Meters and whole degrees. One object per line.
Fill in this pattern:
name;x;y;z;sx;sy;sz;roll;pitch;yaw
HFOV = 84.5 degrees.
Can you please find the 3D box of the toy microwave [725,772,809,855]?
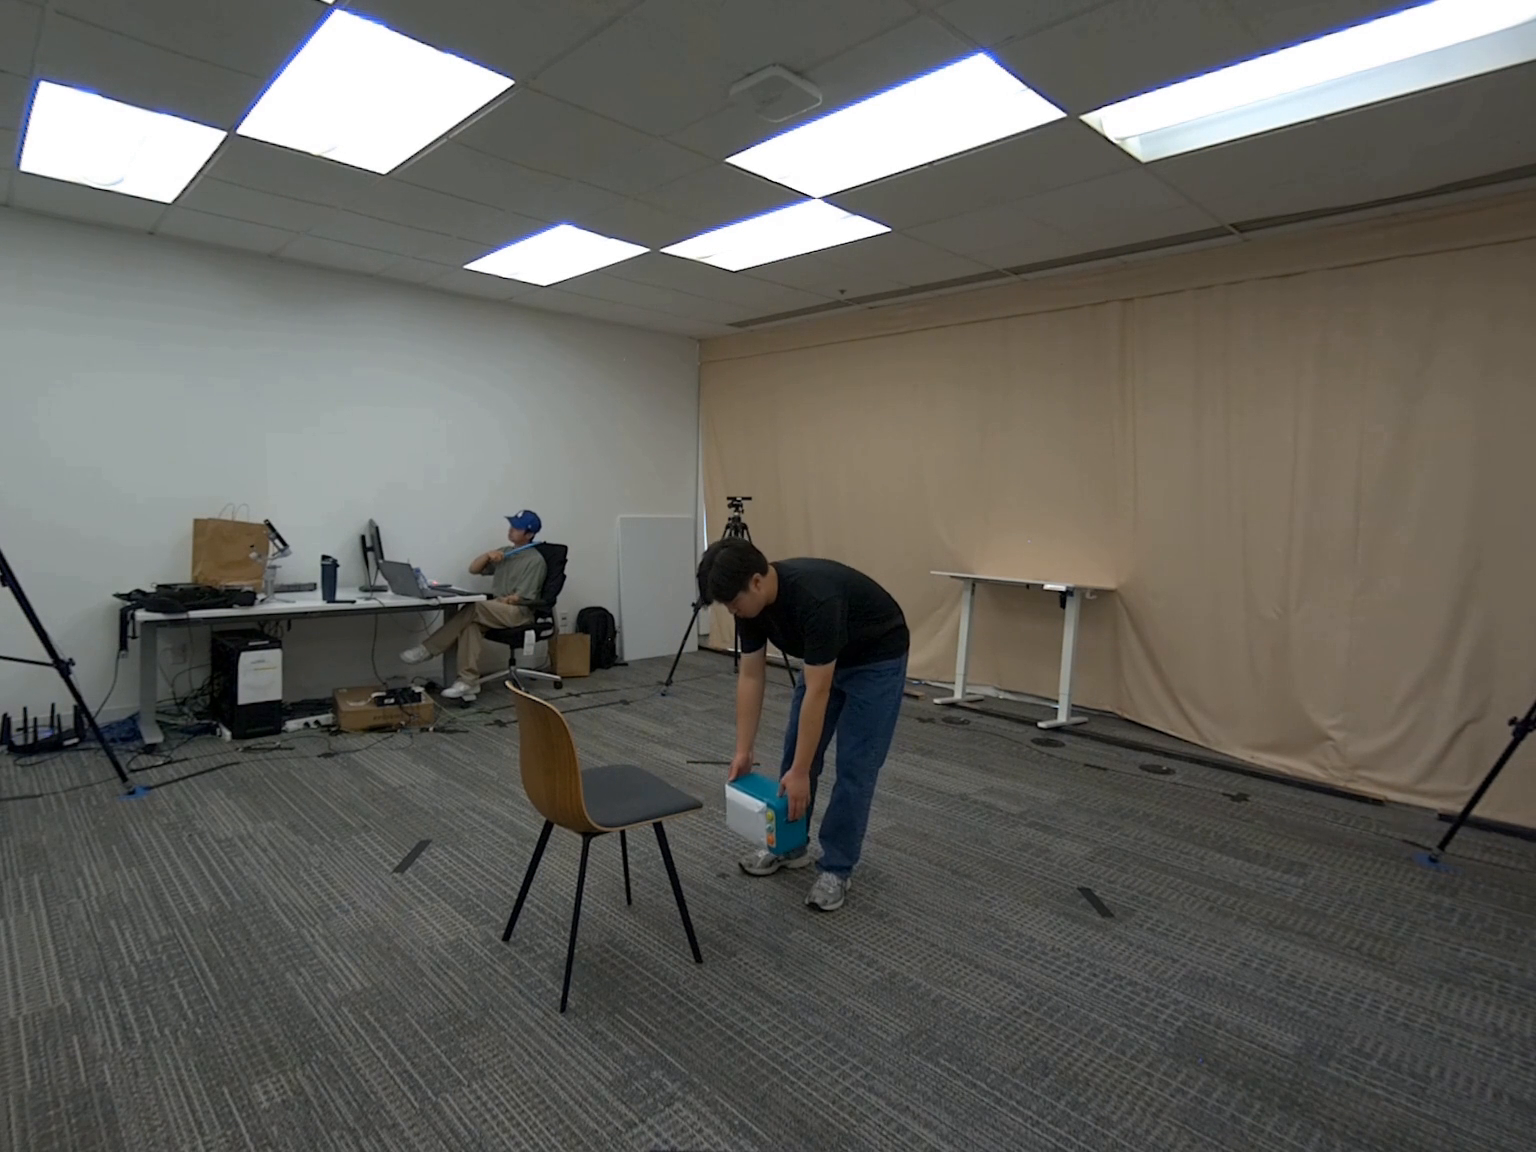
toy microwave;-0.019;0.795;2.803;0.149;0.183;0.293;-8;10;-38
